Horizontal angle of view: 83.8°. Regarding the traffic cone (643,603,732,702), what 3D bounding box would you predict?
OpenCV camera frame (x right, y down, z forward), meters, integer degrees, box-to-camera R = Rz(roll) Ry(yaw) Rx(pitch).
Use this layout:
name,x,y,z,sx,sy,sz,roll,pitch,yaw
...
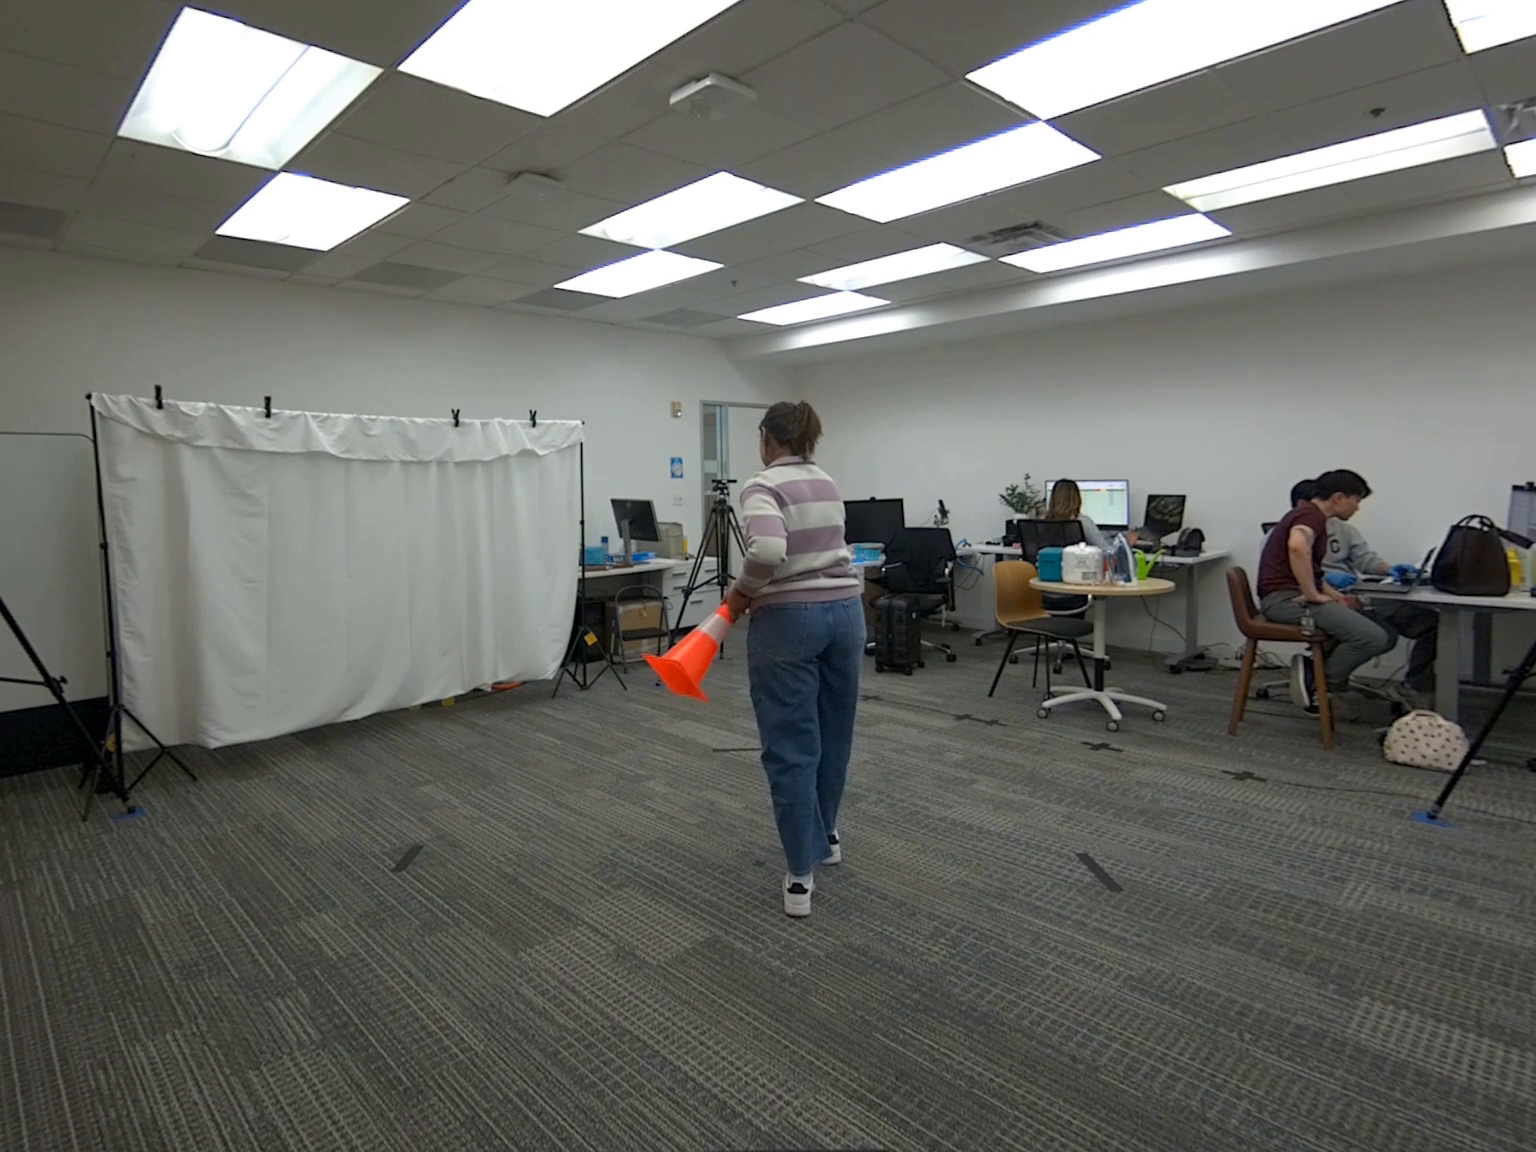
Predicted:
name,x,y,z,sx,sy,sz,roll,pitch,yaw
traffic cone,-0.190,0.197,2.862,0.211,0.197,0.384,1,45,51
